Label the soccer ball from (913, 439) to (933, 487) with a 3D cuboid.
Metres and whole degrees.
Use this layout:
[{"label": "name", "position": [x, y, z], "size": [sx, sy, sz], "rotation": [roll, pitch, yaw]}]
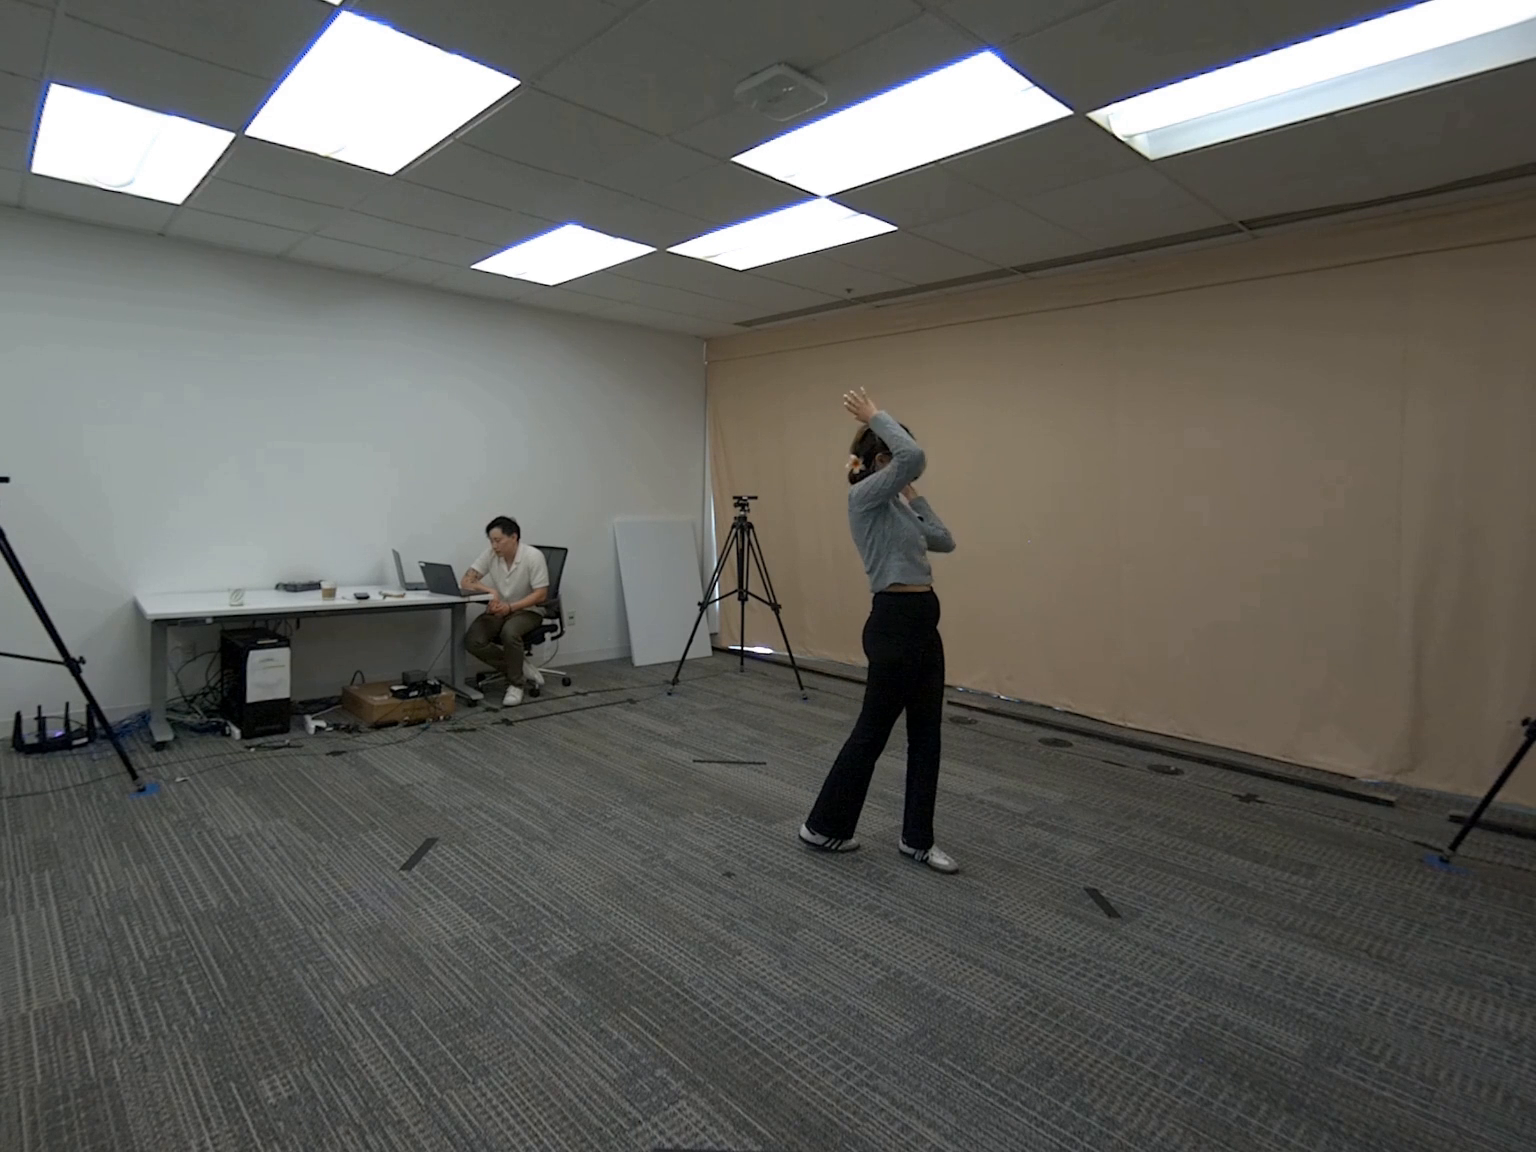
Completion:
[{"label": "soccer ball", "position": [0.569, -0.476, 3.544], "size": [0.187, 0.187, 0.188], "rotation": [1, 4, -1]}]
